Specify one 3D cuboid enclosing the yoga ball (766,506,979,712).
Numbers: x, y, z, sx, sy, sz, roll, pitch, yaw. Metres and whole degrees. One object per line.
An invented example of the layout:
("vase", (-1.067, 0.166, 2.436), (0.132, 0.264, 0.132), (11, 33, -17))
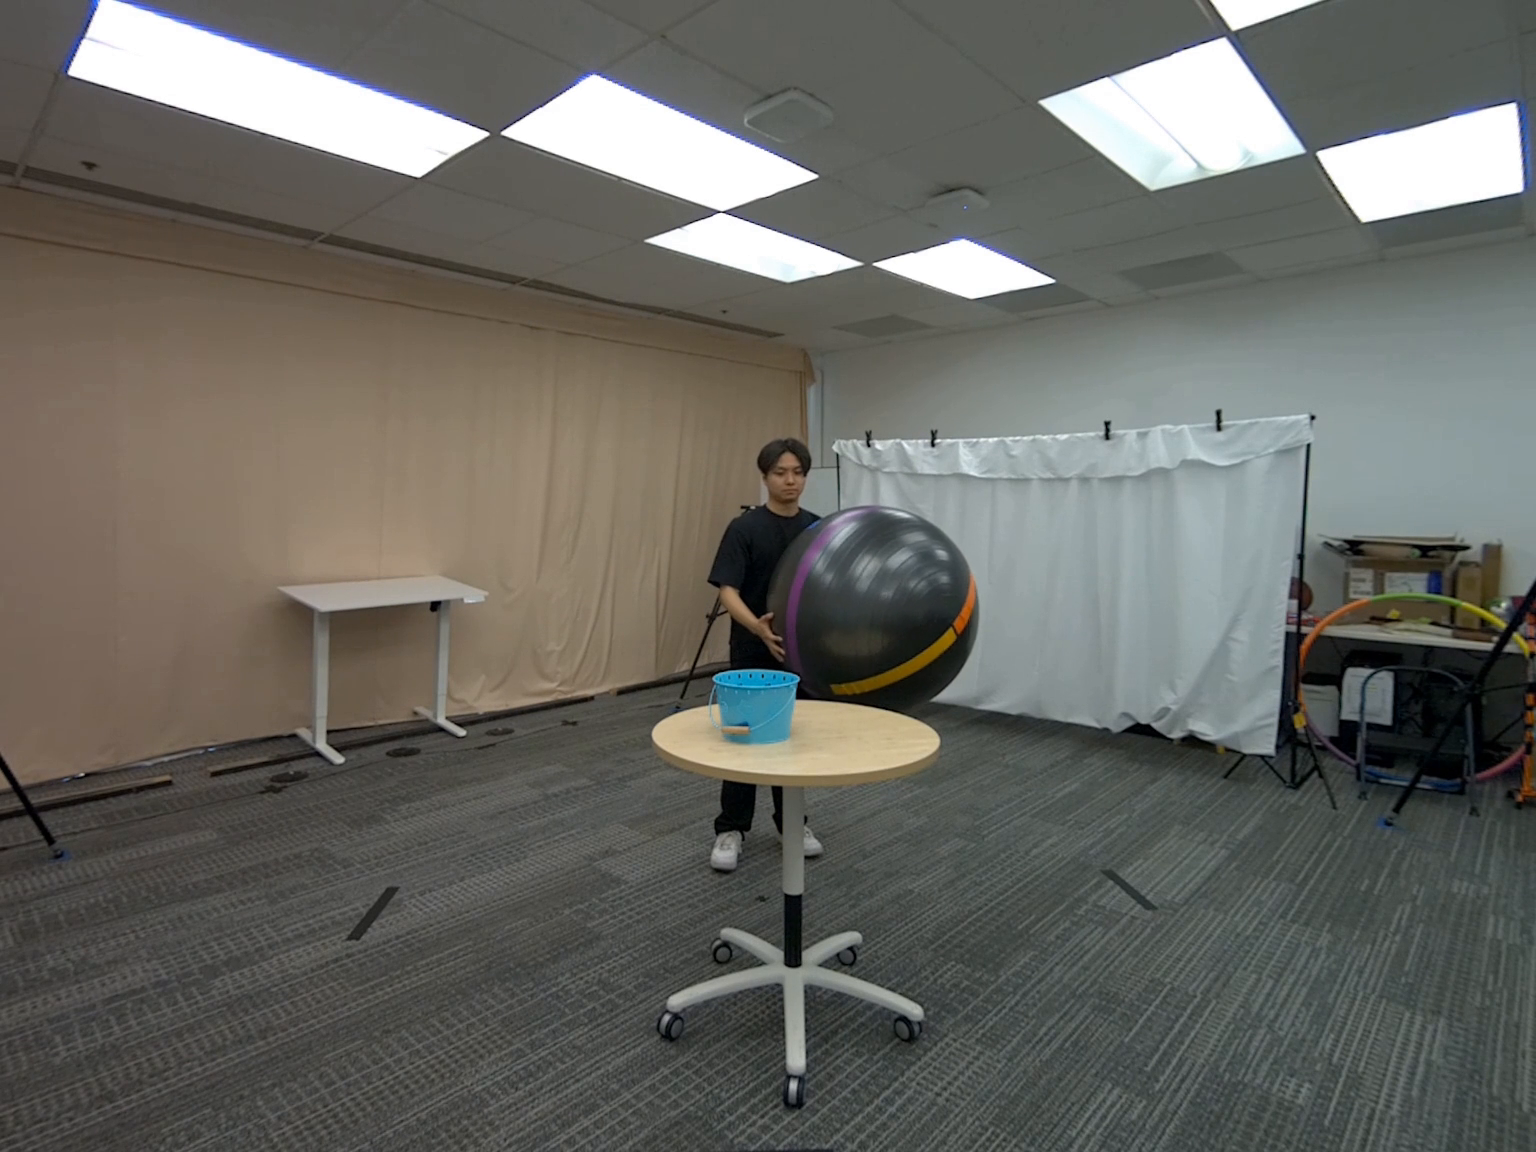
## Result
("yoga ball", (0.382, 0.131, 3.060), (0.757, 0.756, 0.760), (0, 4, -2))
